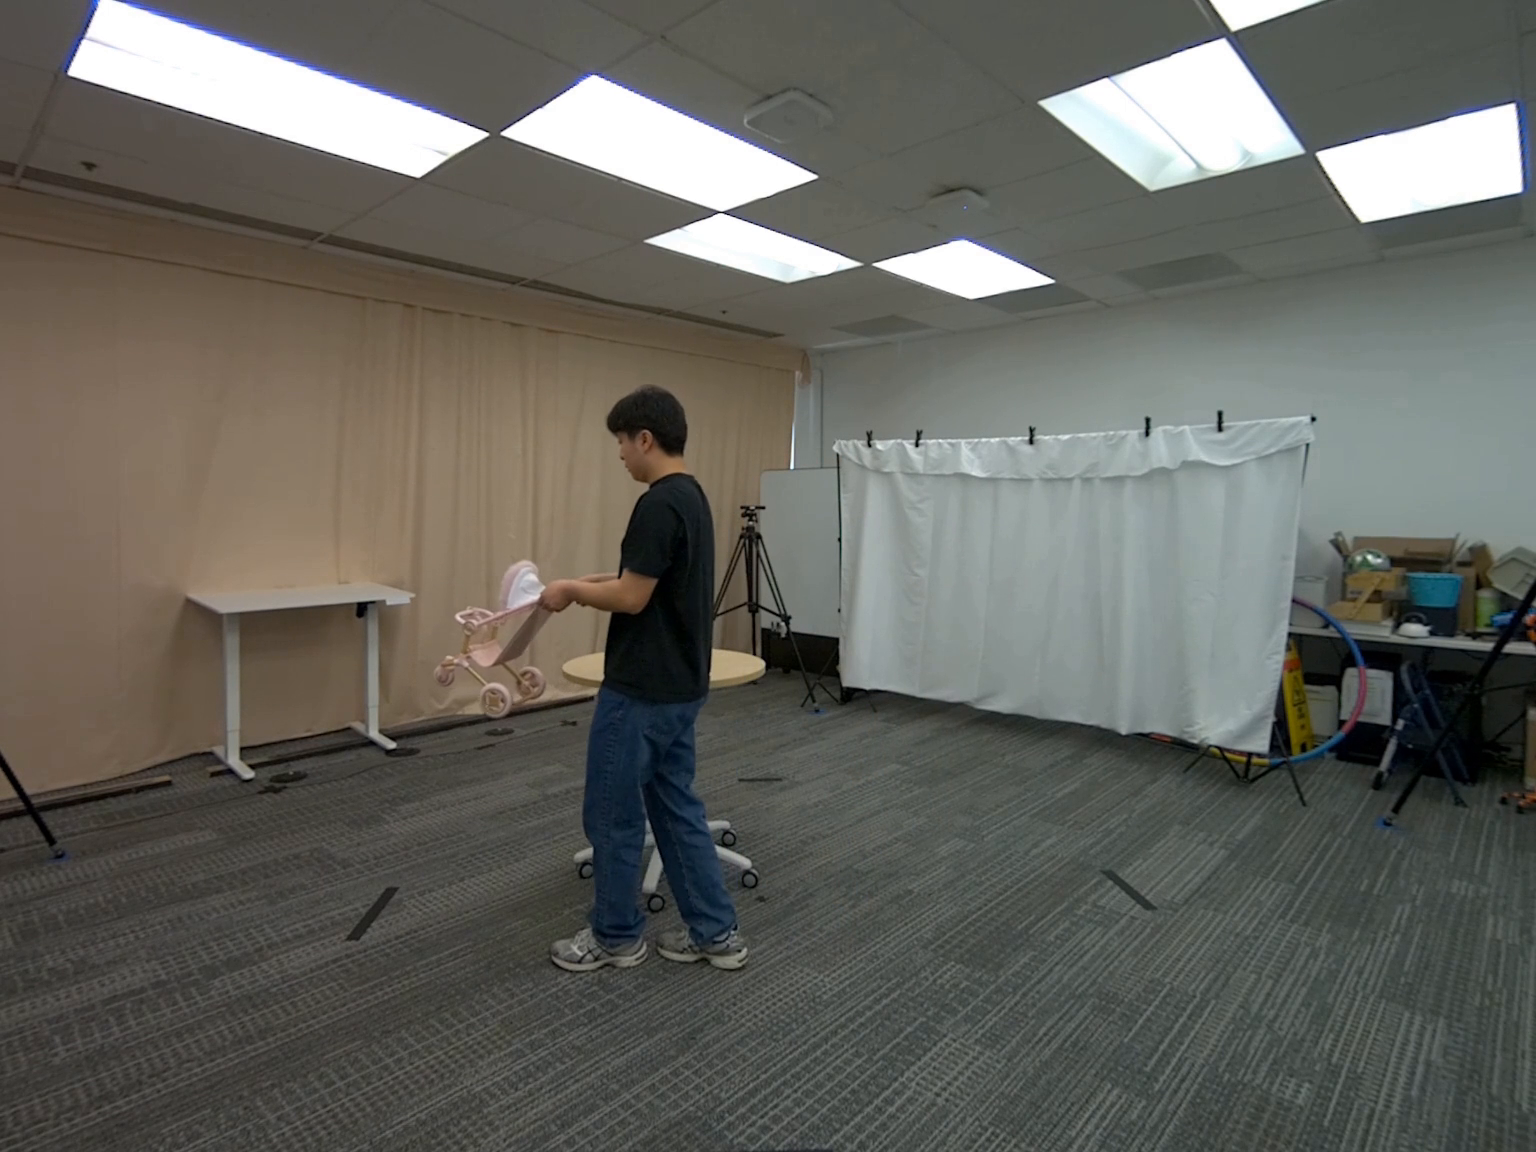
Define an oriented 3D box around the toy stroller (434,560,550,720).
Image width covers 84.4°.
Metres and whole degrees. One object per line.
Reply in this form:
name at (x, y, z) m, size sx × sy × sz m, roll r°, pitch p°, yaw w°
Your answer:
toy stroller at (-0.838, 0.184, 2.679) m, size 0.347 × 0.534 × 0.277 m, roll 29°, pitch 9°, yaw 13°
